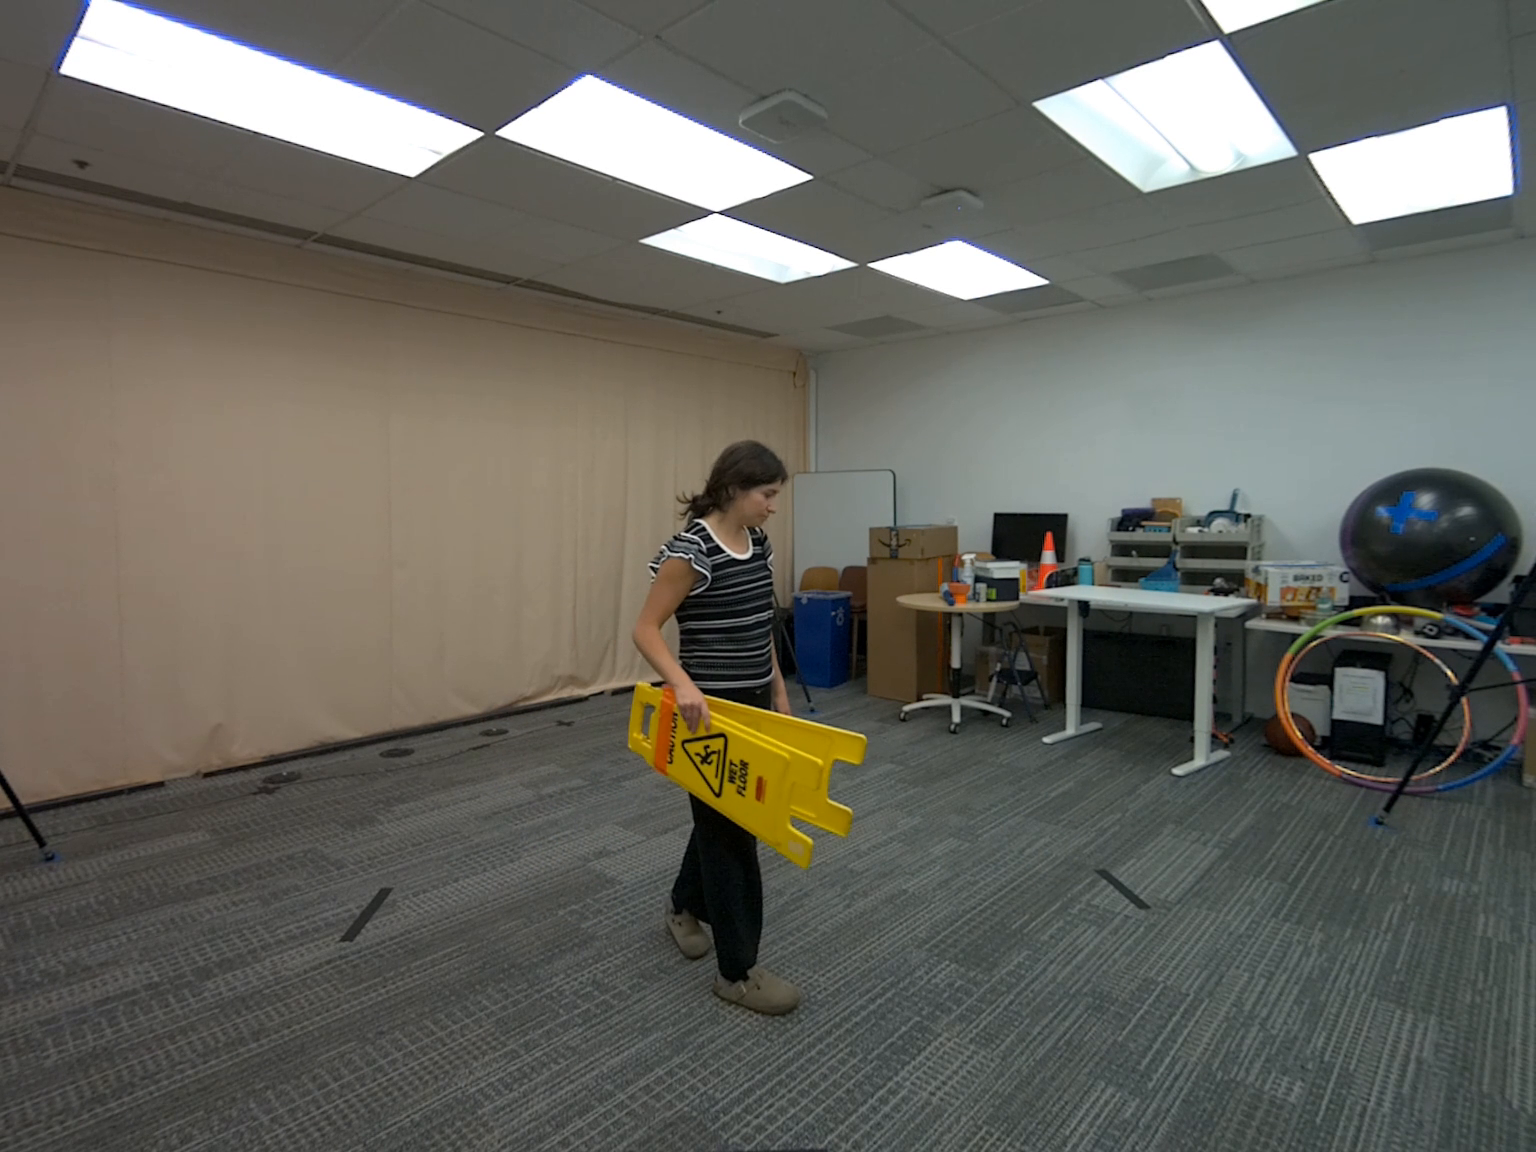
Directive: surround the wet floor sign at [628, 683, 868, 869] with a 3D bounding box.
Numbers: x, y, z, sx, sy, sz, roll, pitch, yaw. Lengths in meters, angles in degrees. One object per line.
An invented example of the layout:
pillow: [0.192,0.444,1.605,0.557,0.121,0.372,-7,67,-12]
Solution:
wet floor sign: [-0.099,0.467,2.210,0.667,0.281,0.282,15,14,30]
